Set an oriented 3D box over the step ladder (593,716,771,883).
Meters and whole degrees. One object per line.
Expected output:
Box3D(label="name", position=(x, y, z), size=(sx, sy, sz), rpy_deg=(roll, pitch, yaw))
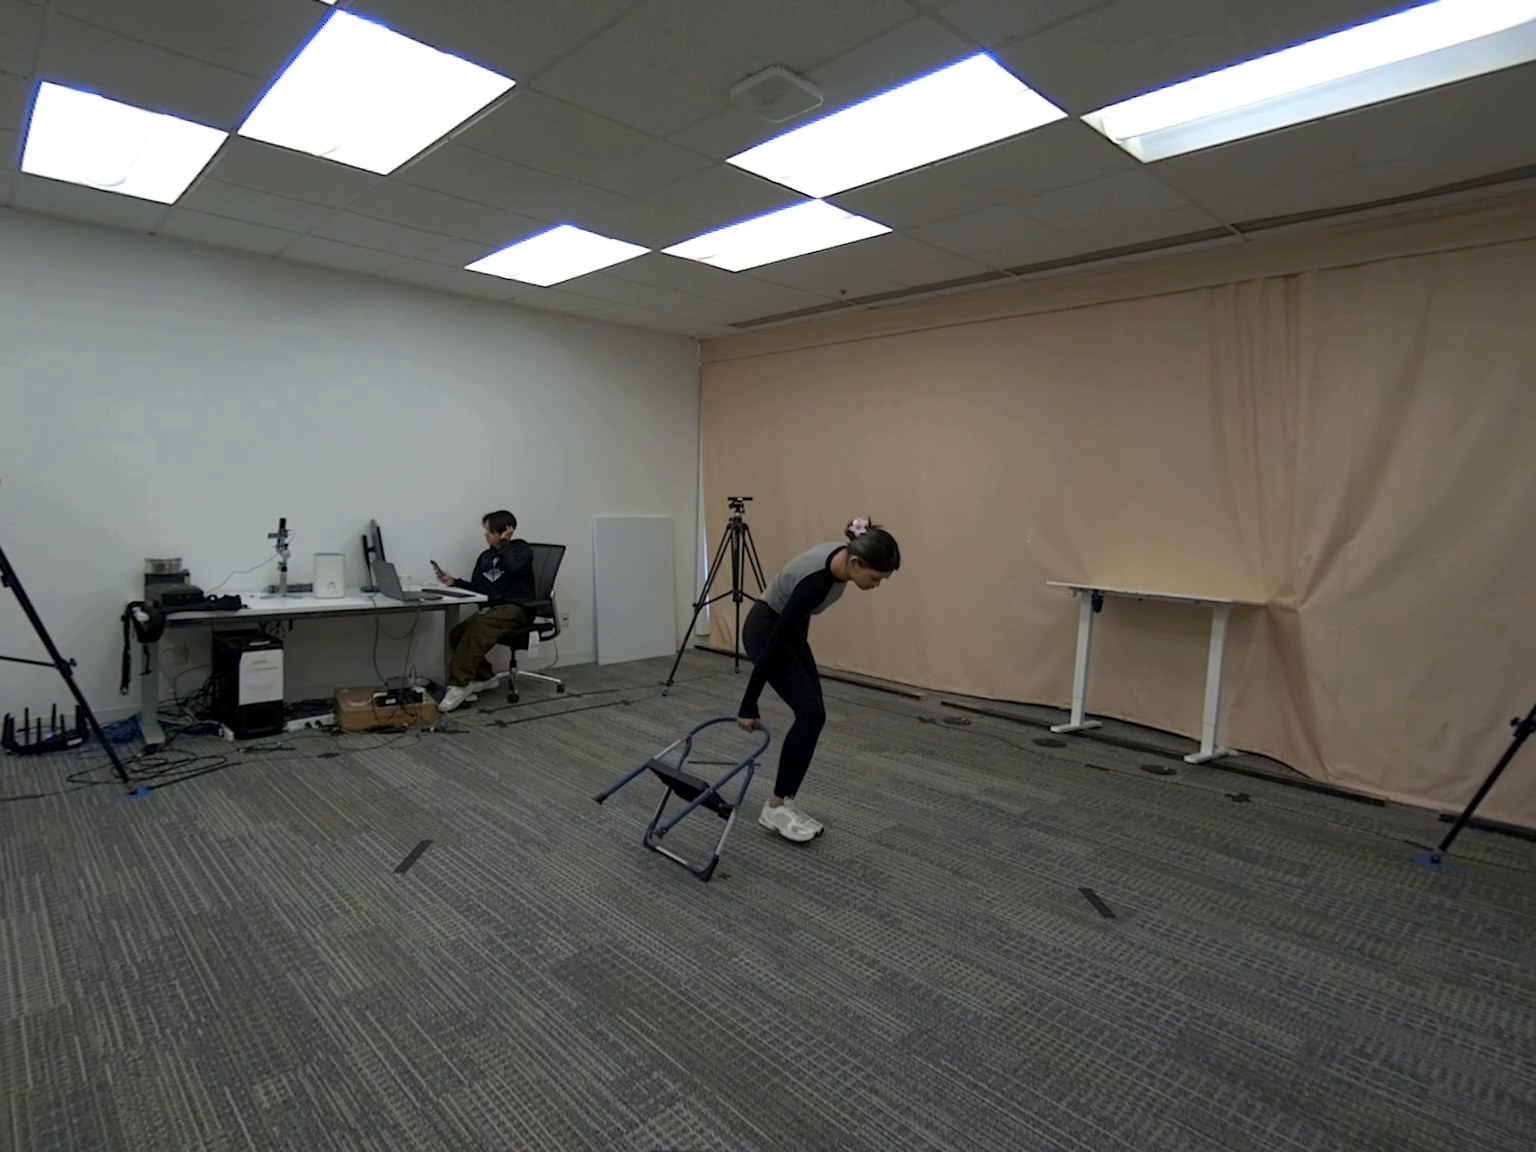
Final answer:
Box3D(label="step ladder", position=(-0.284, 0.765, 3.242), size=(0.442, 0.607, 0.339), rpy_deg=(7, -38, 48))
